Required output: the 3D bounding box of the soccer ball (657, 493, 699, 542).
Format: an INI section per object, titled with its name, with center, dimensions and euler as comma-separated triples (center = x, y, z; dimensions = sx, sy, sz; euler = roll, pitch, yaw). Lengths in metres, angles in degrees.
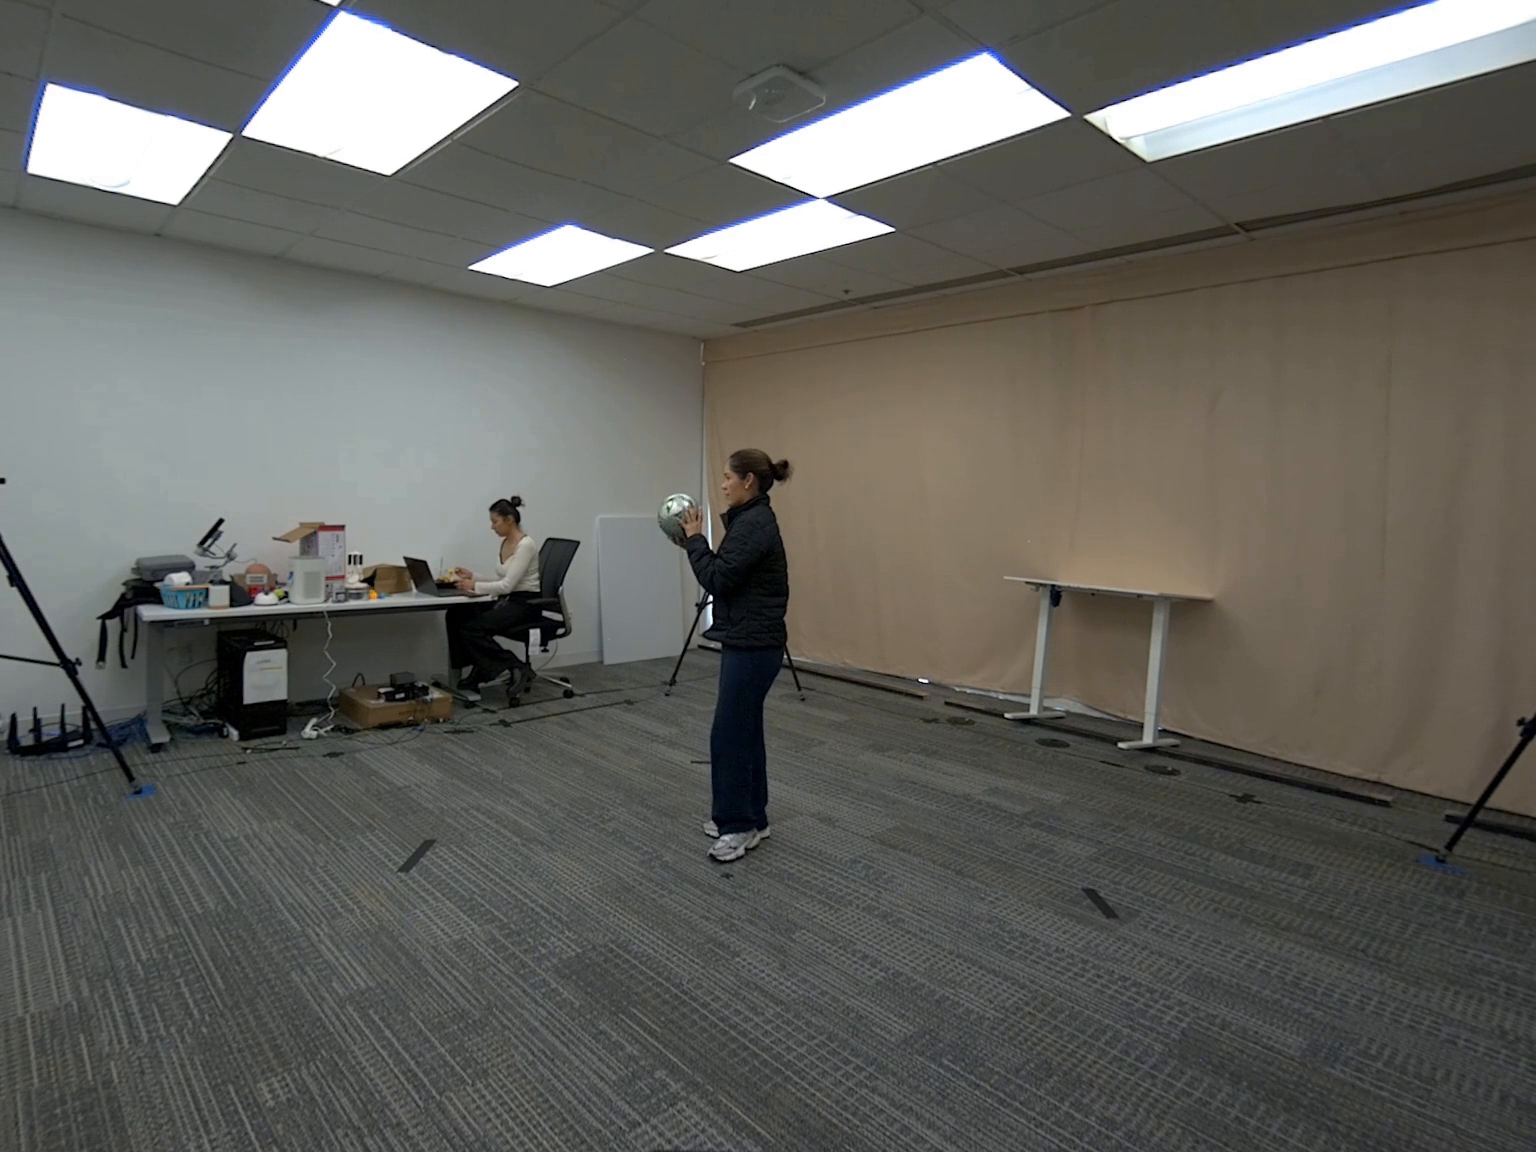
[soccer ball]
center = -0.359, -0.246, 3.443
dimensions = 0.187, 0.187, 0.188
euler = 1, 4, -1
